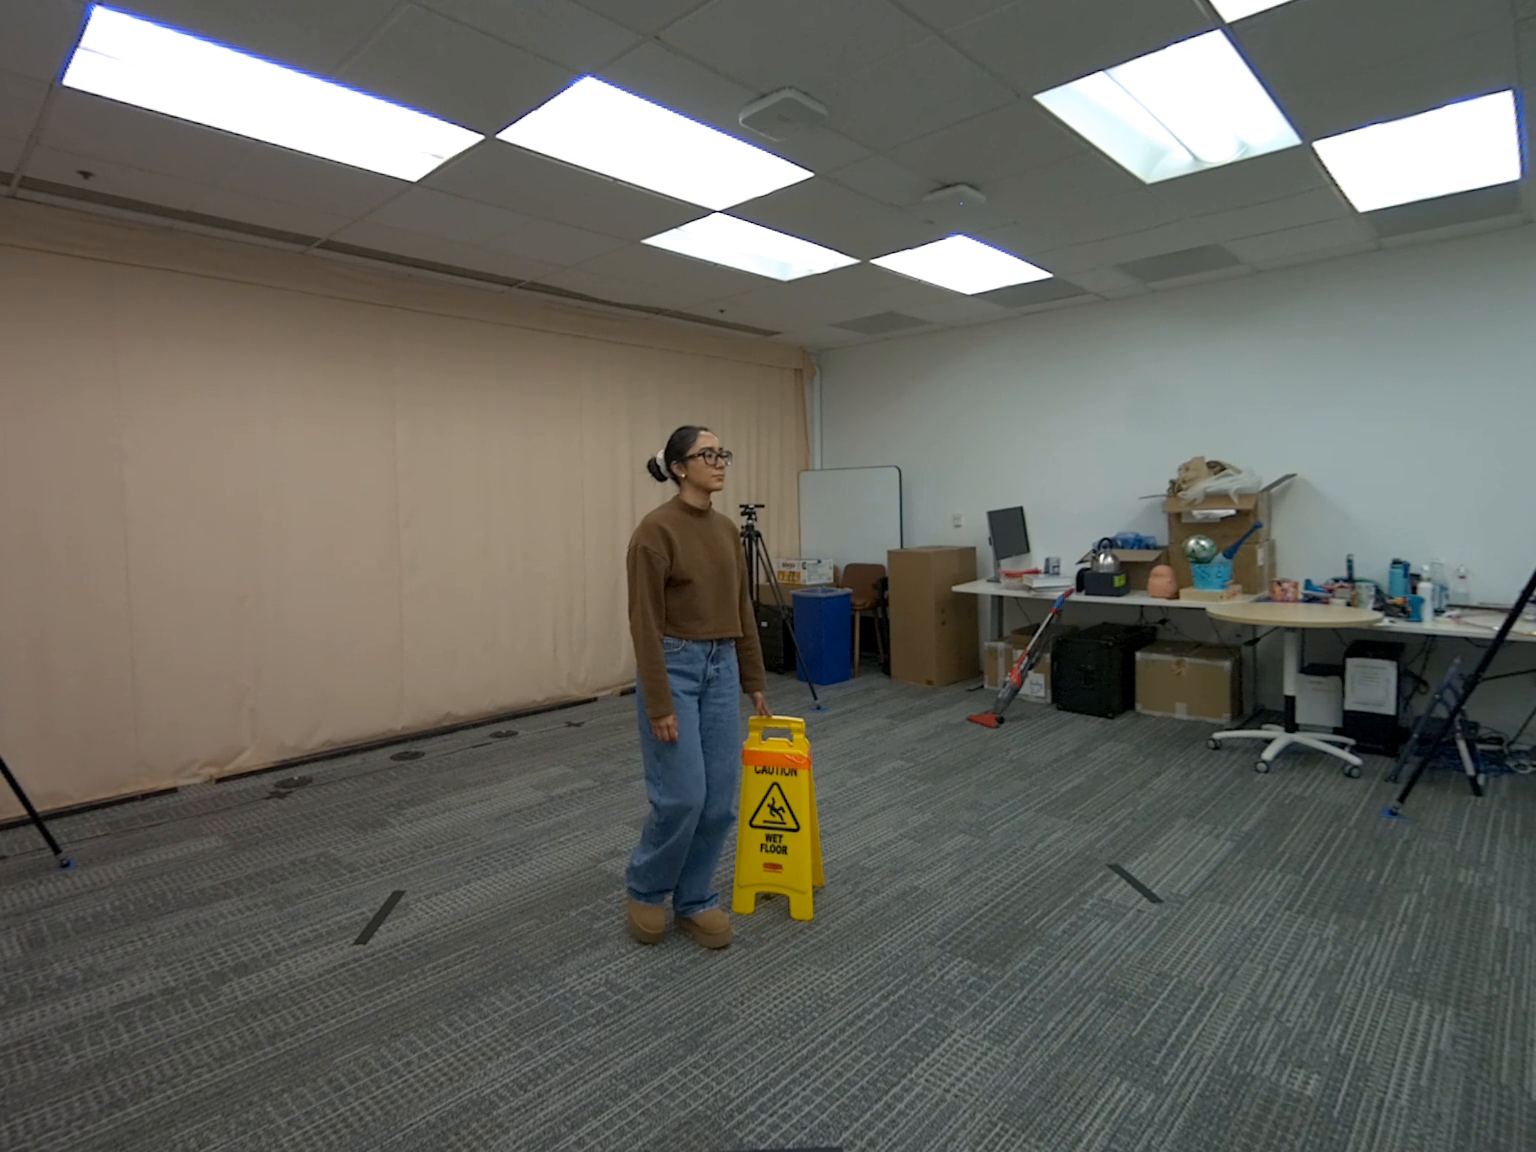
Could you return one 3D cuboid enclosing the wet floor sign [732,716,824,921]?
[{"bbox_3d":[0.041,0.818,2.961,0.287,0.645,0.285,2,3,14],"label":"wet floor sign"}]
